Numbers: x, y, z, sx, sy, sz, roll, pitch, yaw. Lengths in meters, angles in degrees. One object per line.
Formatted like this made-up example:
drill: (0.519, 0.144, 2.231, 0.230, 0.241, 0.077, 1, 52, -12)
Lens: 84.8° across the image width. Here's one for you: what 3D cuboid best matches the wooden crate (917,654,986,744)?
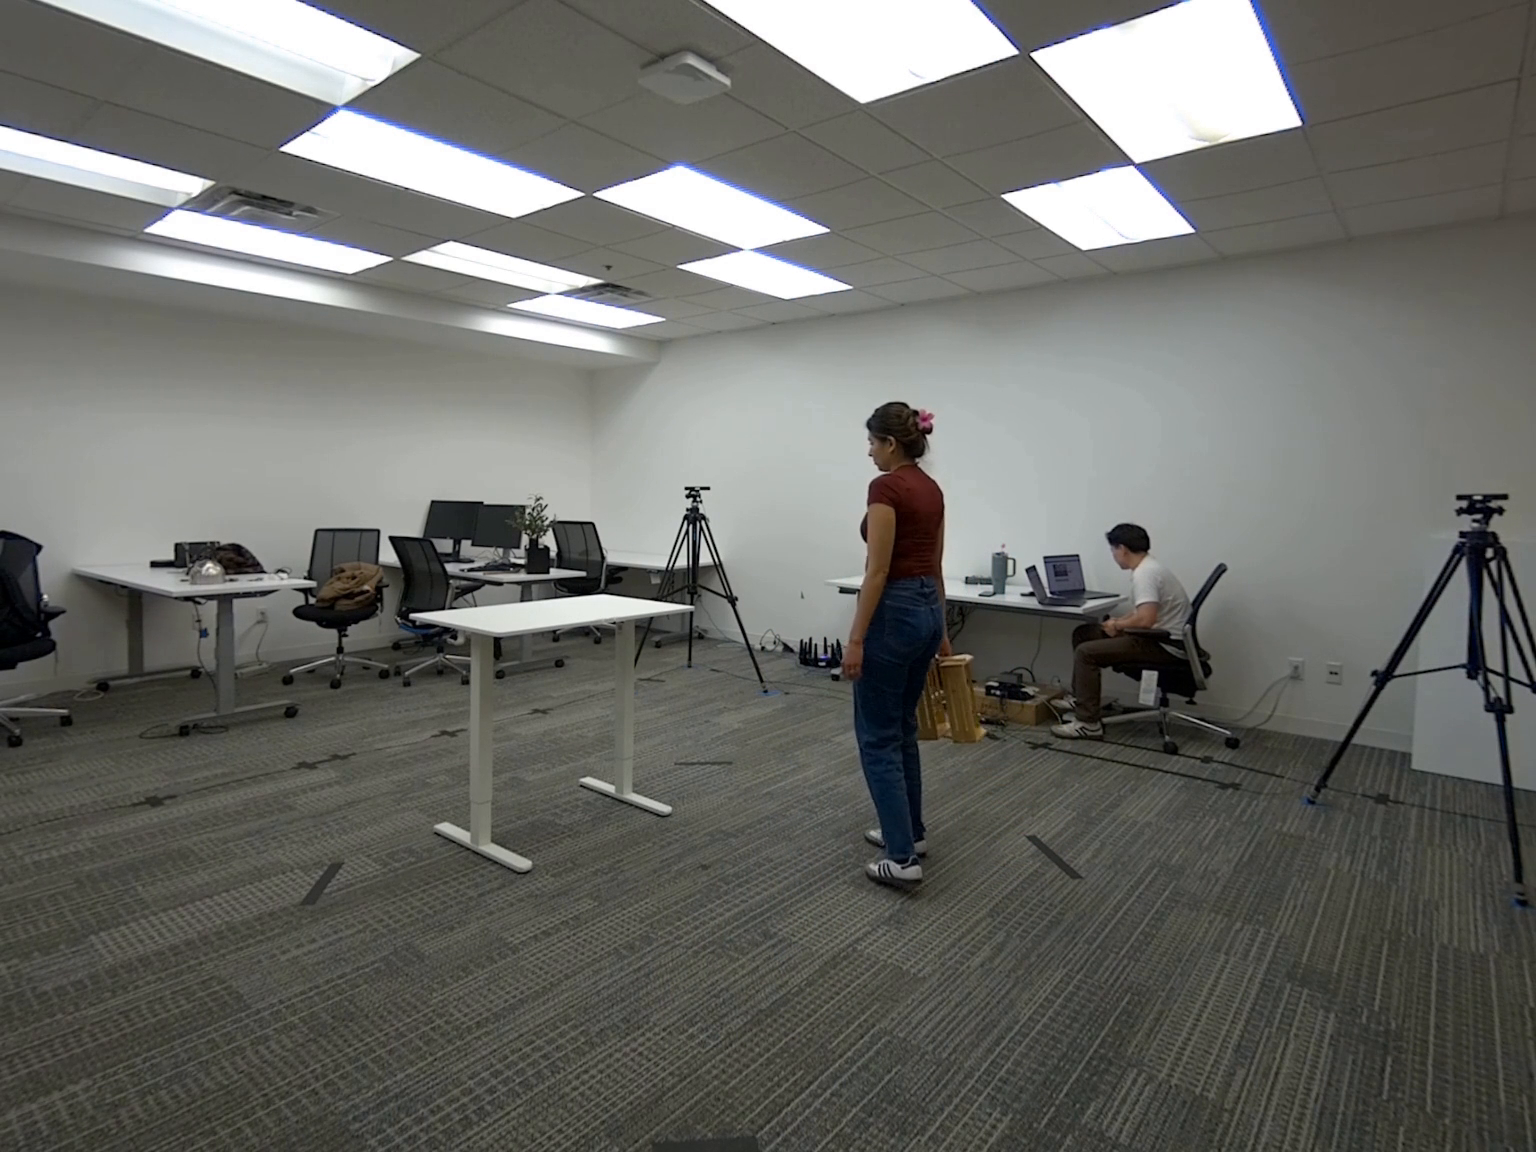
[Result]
wooden crate: (0.720, 0.477, 3.408, 0.280, 0.324, 0.295, -10, 1, 31)
